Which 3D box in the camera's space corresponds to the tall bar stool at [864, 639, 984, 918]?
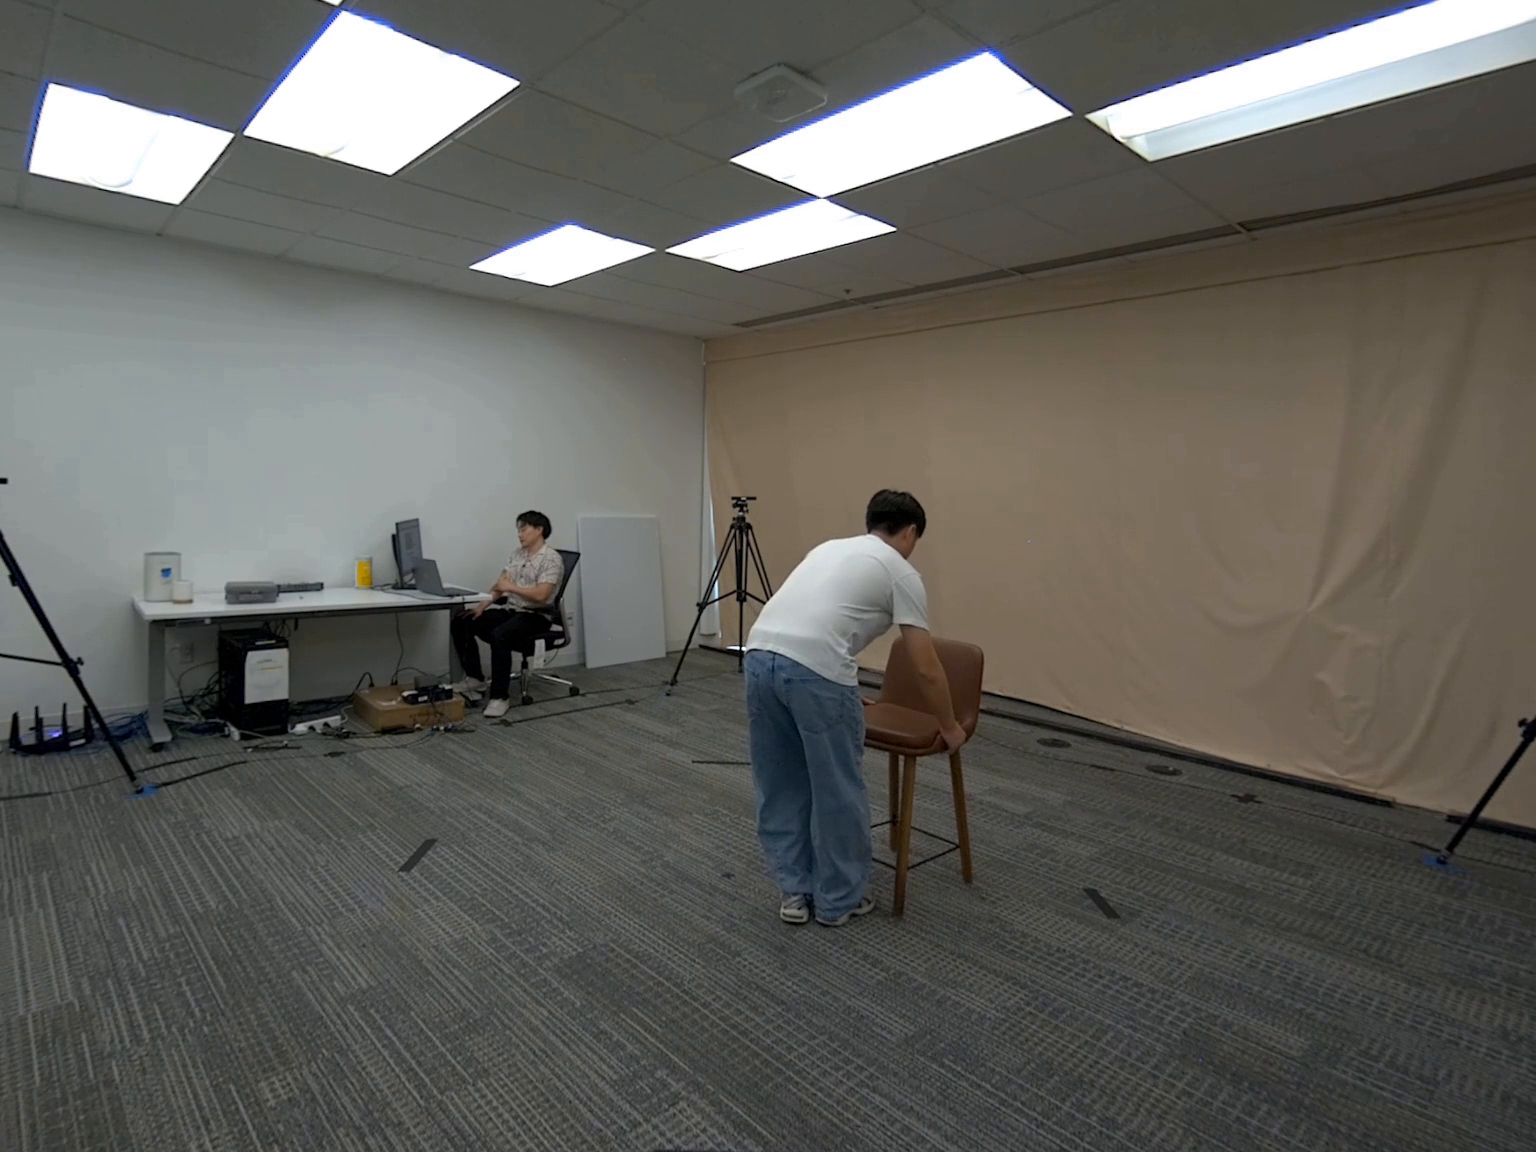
[{"bbox_3d":[0.479,0.680,3.085,0.456,0.888,0.468,1,3,-41],"label":"tall bar stool"}]
